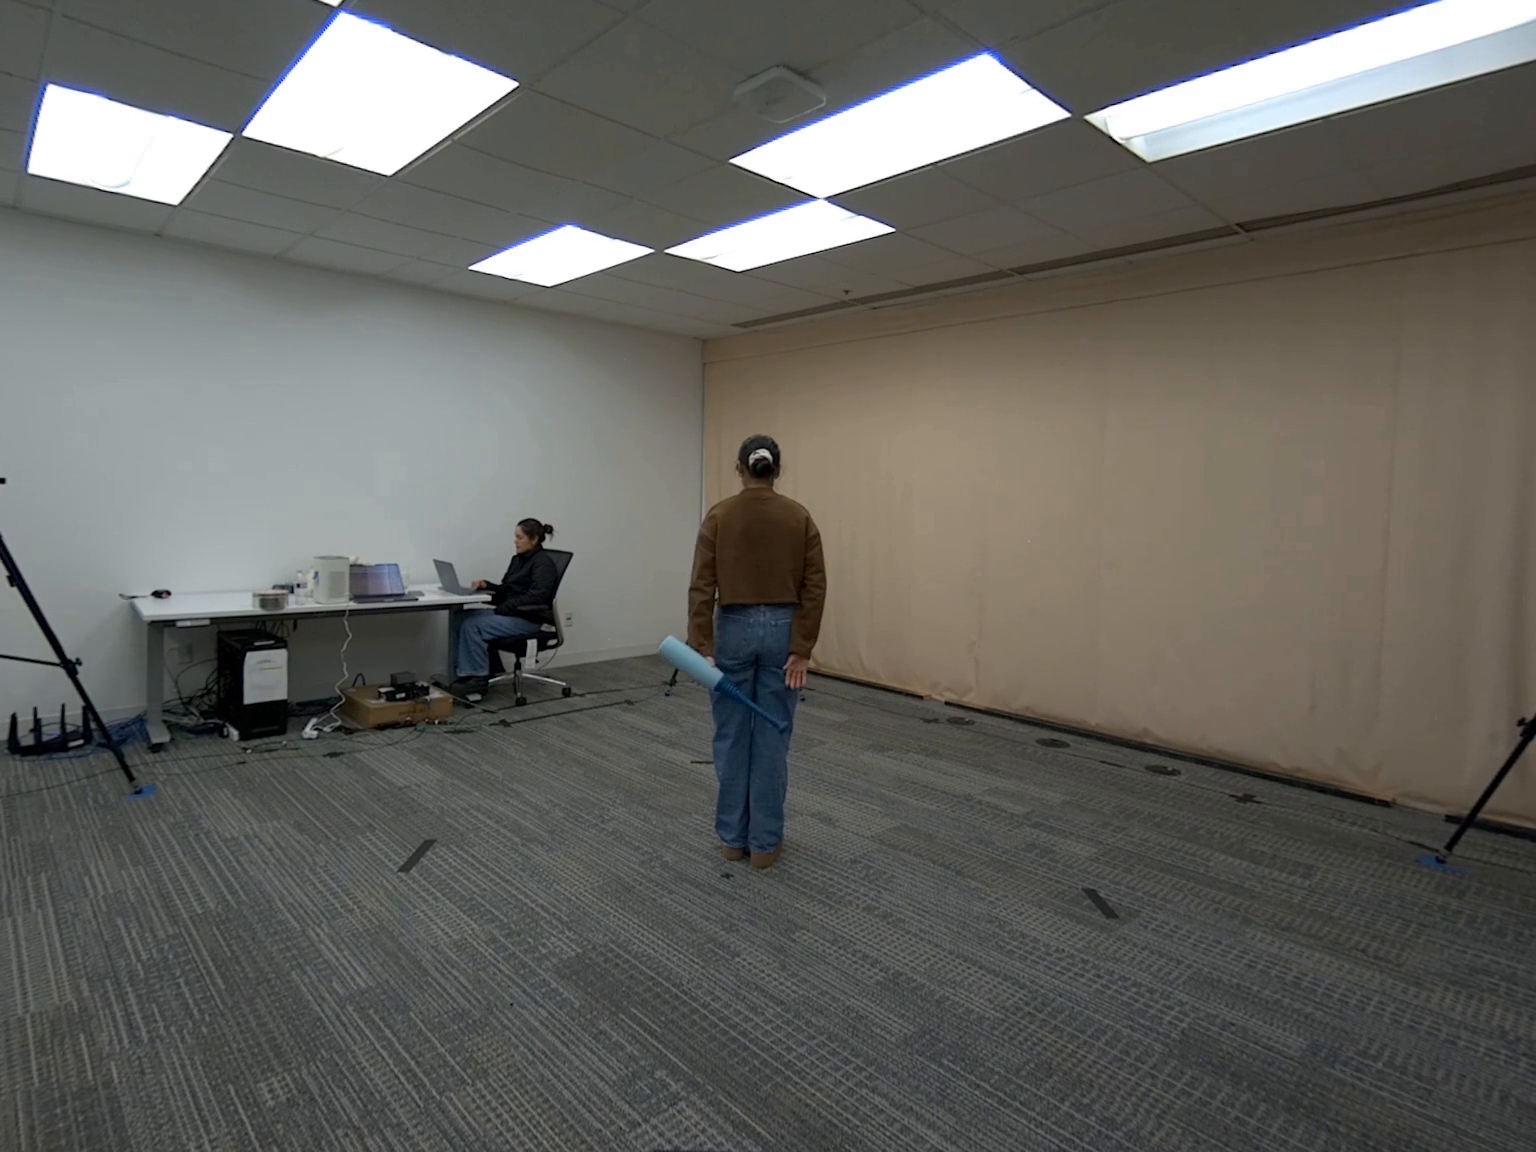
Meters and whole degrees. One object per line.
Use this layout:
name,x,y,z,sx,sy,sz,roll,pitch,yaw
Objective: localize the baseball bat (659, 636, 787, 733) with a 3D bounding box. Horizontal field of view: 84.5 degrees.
baseball bat,-0.164,0.398,3.044,0.548,0.089,0.088,34,9,9
